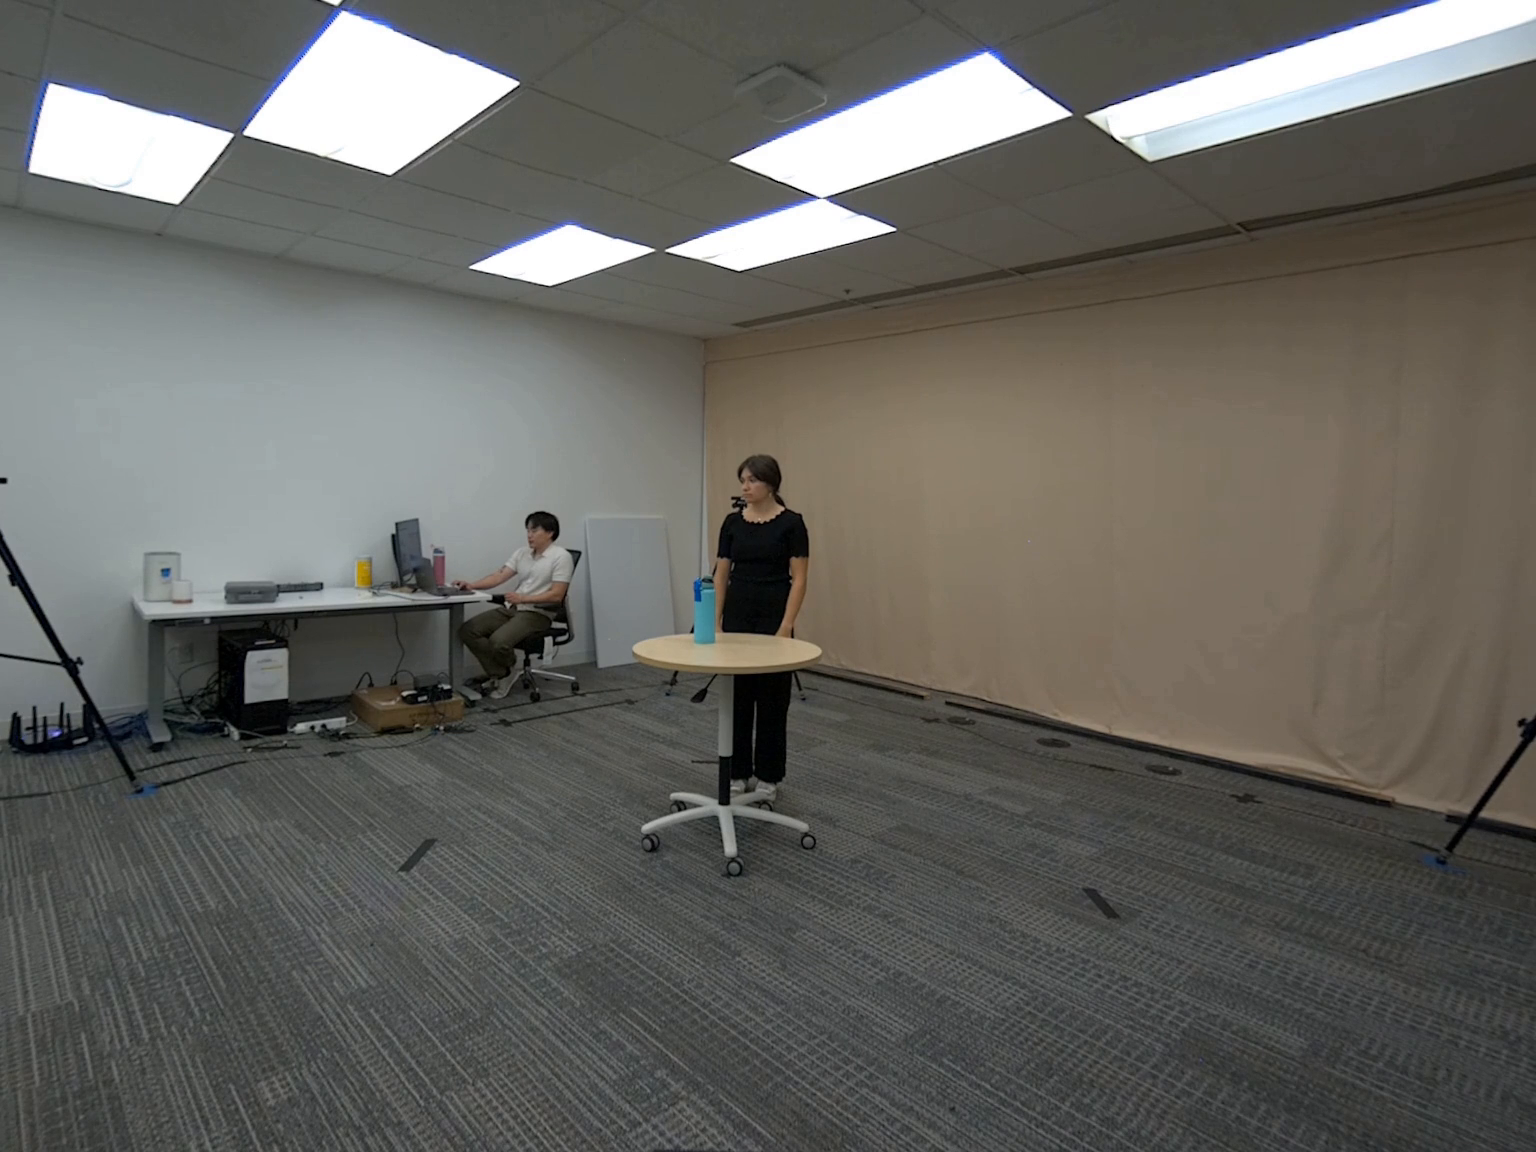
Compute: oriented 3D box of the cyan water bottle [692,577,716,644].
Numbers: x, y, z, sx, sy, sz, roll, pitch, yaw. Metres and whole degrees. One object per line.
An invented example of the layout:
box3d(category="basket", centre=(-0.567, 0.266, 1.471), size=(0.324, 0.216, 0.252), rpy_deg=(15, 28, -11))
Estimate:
box3d(category="cyan water bottle", centre=(-0.278, 0.141, 3.541), size=(0.092, 0.282, 0.093), rpy_deg=(1, 5, -2))
